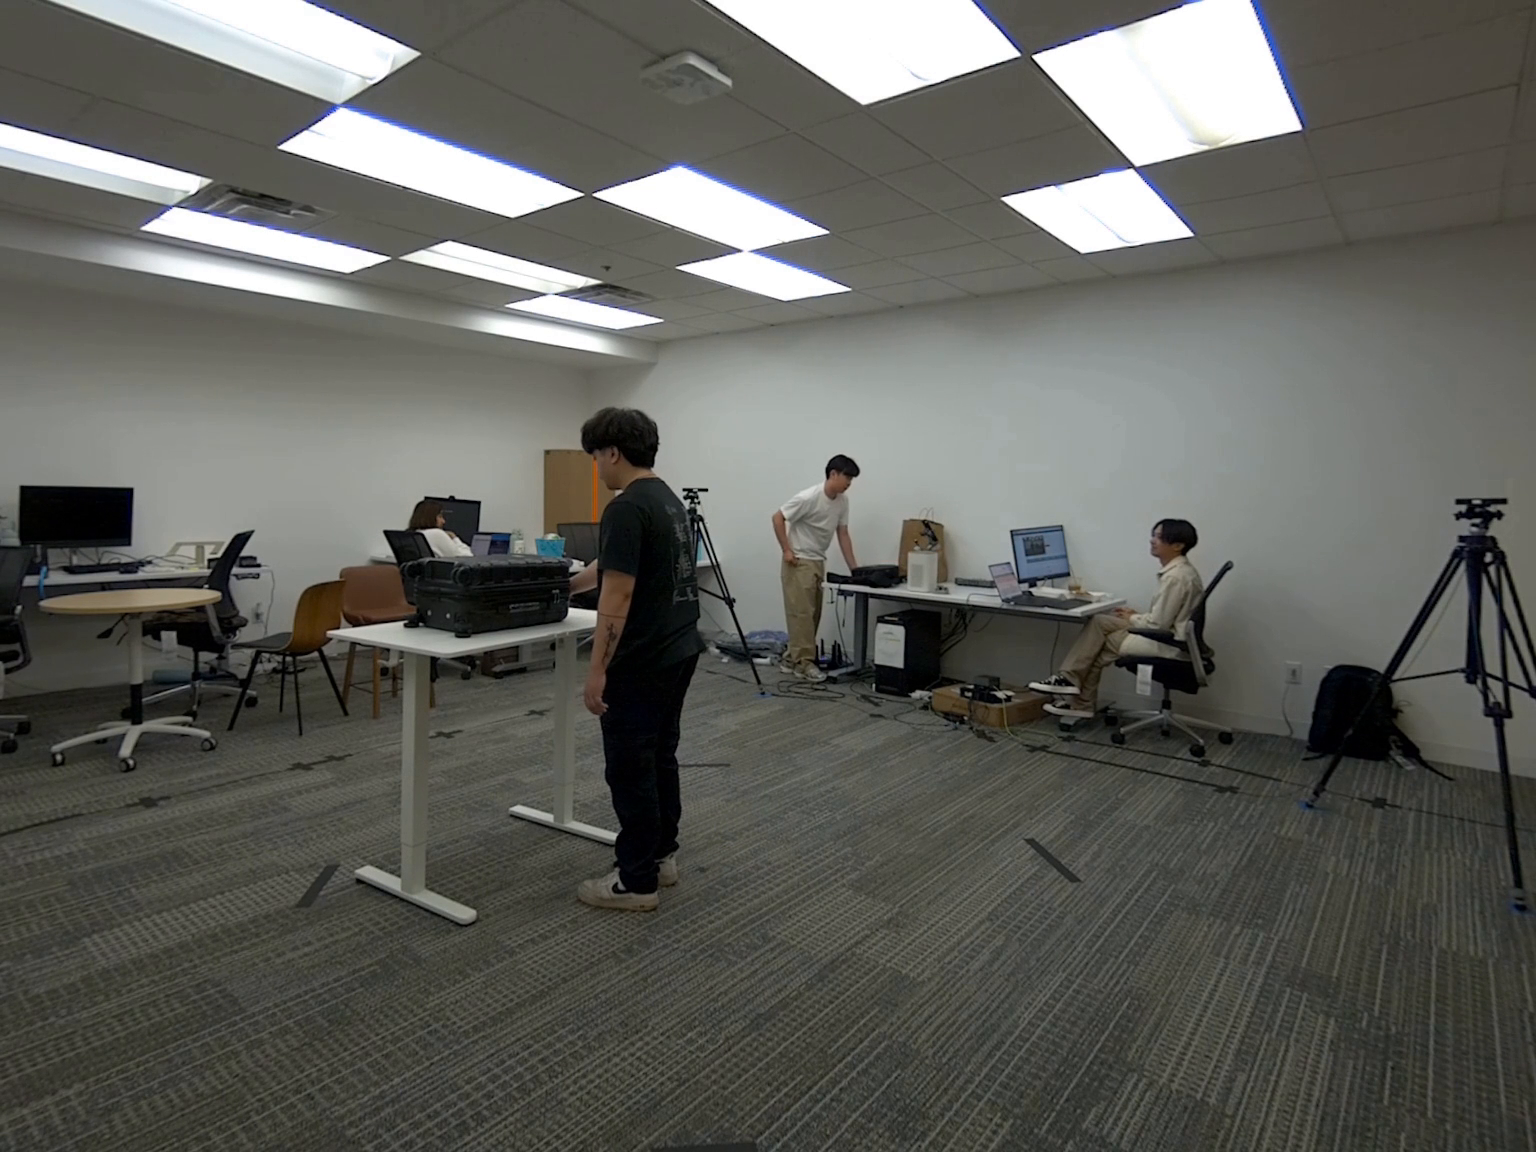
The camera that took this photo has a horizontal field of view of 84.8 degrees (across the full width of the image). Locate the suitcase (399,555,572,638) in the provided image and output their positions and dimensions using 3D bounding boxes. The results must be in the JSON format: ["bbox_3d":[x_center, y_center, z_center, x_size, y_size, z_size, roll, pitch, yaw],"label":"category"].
[{"bbox_3d":[-1.038,0.057,3.124,0.387,0.247,0.534,3,6,35],"label":"suitcase"}]
